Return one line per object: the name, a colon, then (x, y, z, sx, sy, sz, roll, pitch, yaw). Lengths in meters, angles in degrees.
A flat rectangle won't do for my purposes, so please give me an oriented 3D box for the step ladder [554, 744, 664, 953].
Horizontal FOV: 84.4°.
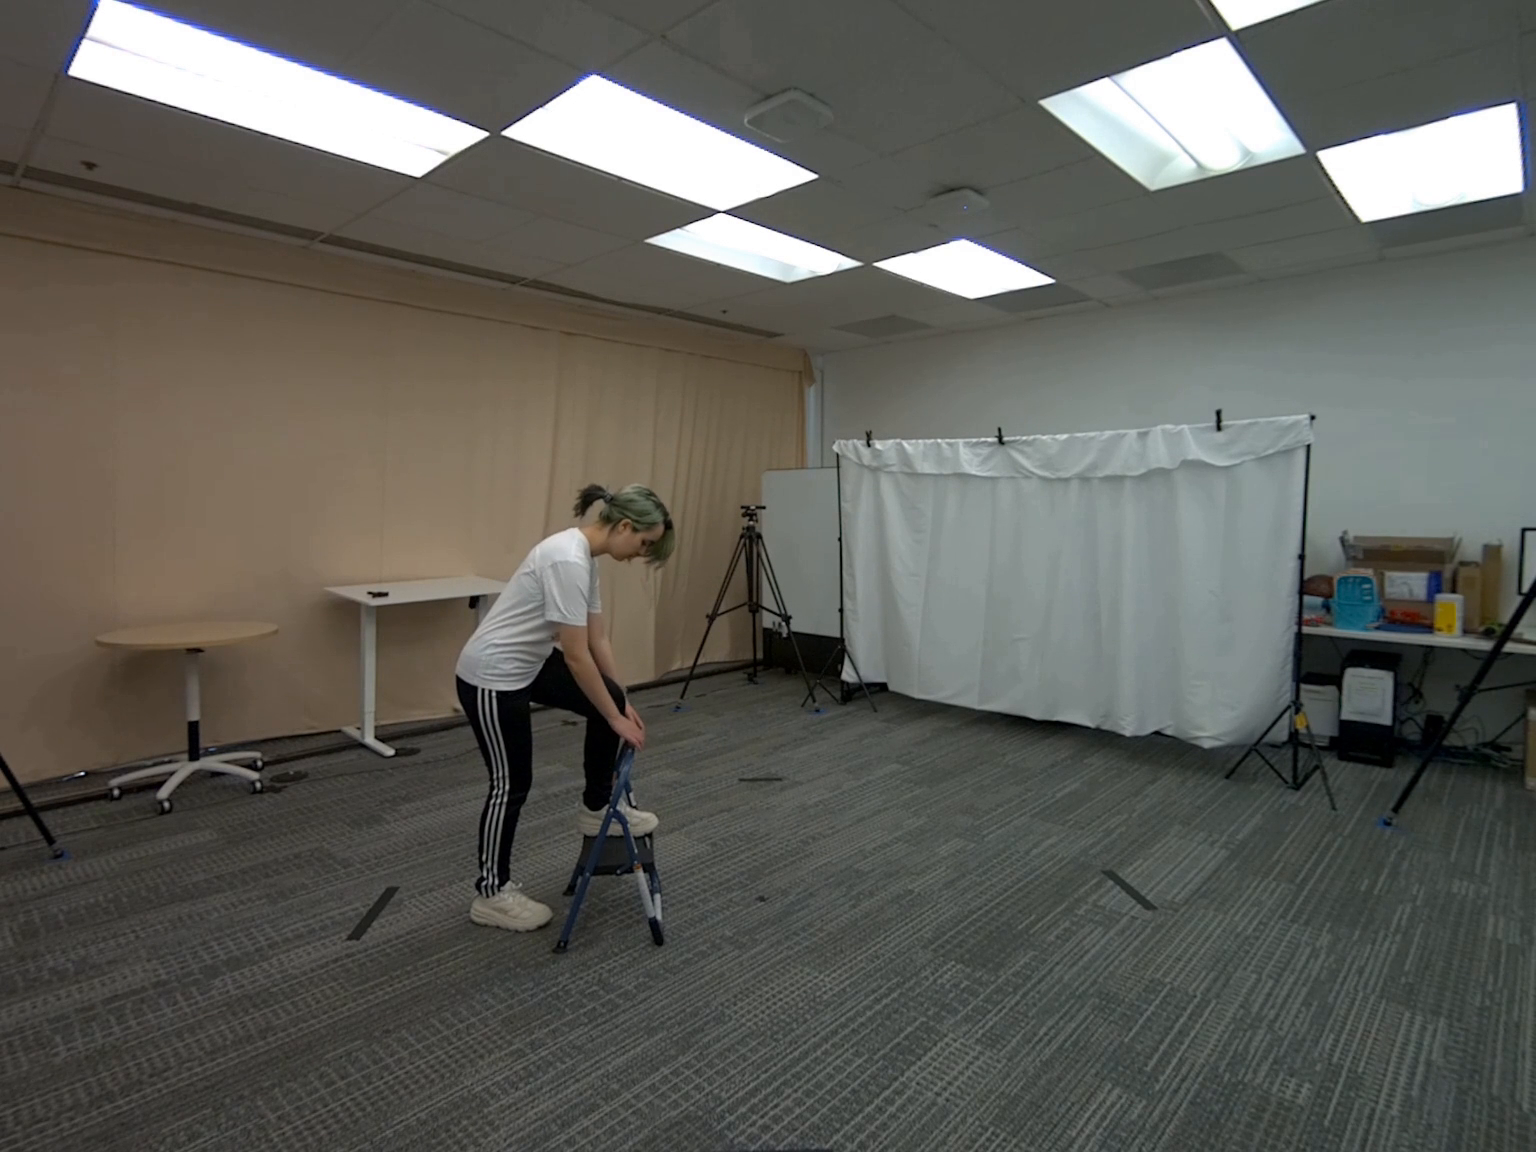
step ladder: (-0.534, 0.862, 2.835, 0.347, 0.605, 0.435, -1, 3, -8)
